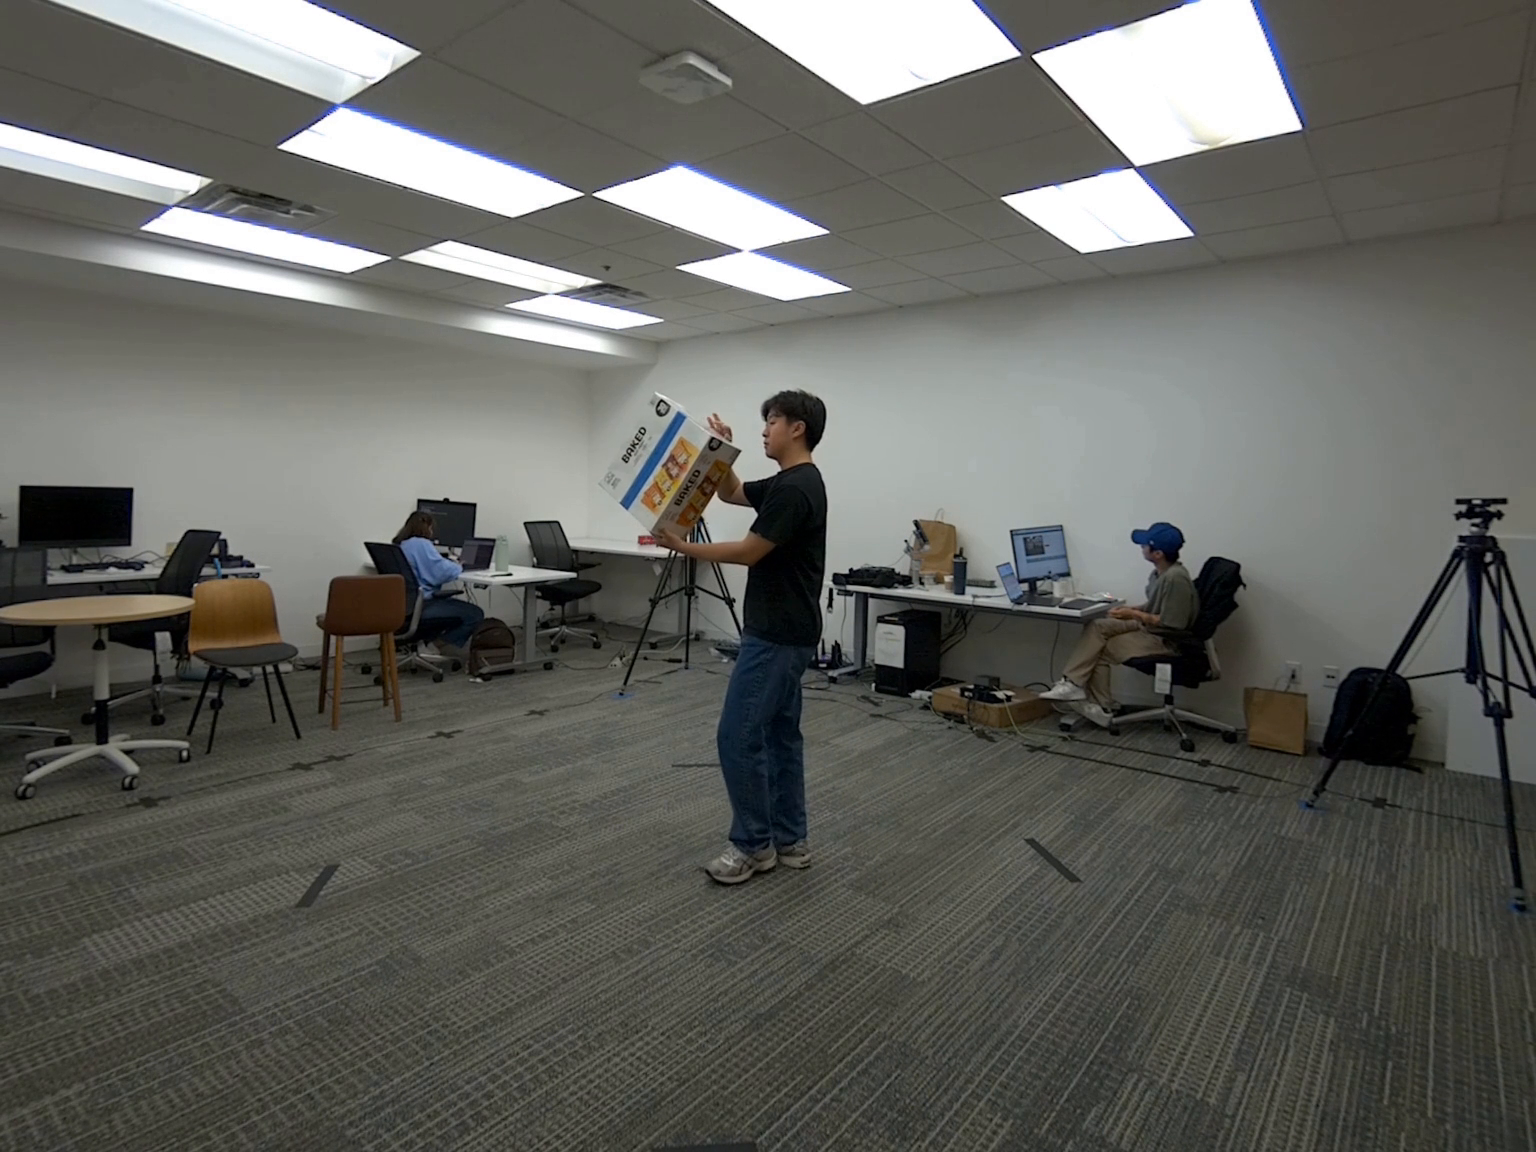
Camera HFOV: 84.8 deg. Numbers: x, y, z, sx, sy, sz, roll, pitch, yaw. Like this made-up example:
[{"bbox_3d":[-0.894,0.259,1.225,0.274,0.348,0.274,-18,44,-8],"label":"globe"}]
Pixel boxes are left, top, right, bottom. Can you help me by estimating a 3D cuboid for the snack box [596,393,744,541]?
[{"bbox_3d":[-0.370,-0.397,3.115,0.354,0.404,0.198,41,12,32],"label":"snack box"}]
